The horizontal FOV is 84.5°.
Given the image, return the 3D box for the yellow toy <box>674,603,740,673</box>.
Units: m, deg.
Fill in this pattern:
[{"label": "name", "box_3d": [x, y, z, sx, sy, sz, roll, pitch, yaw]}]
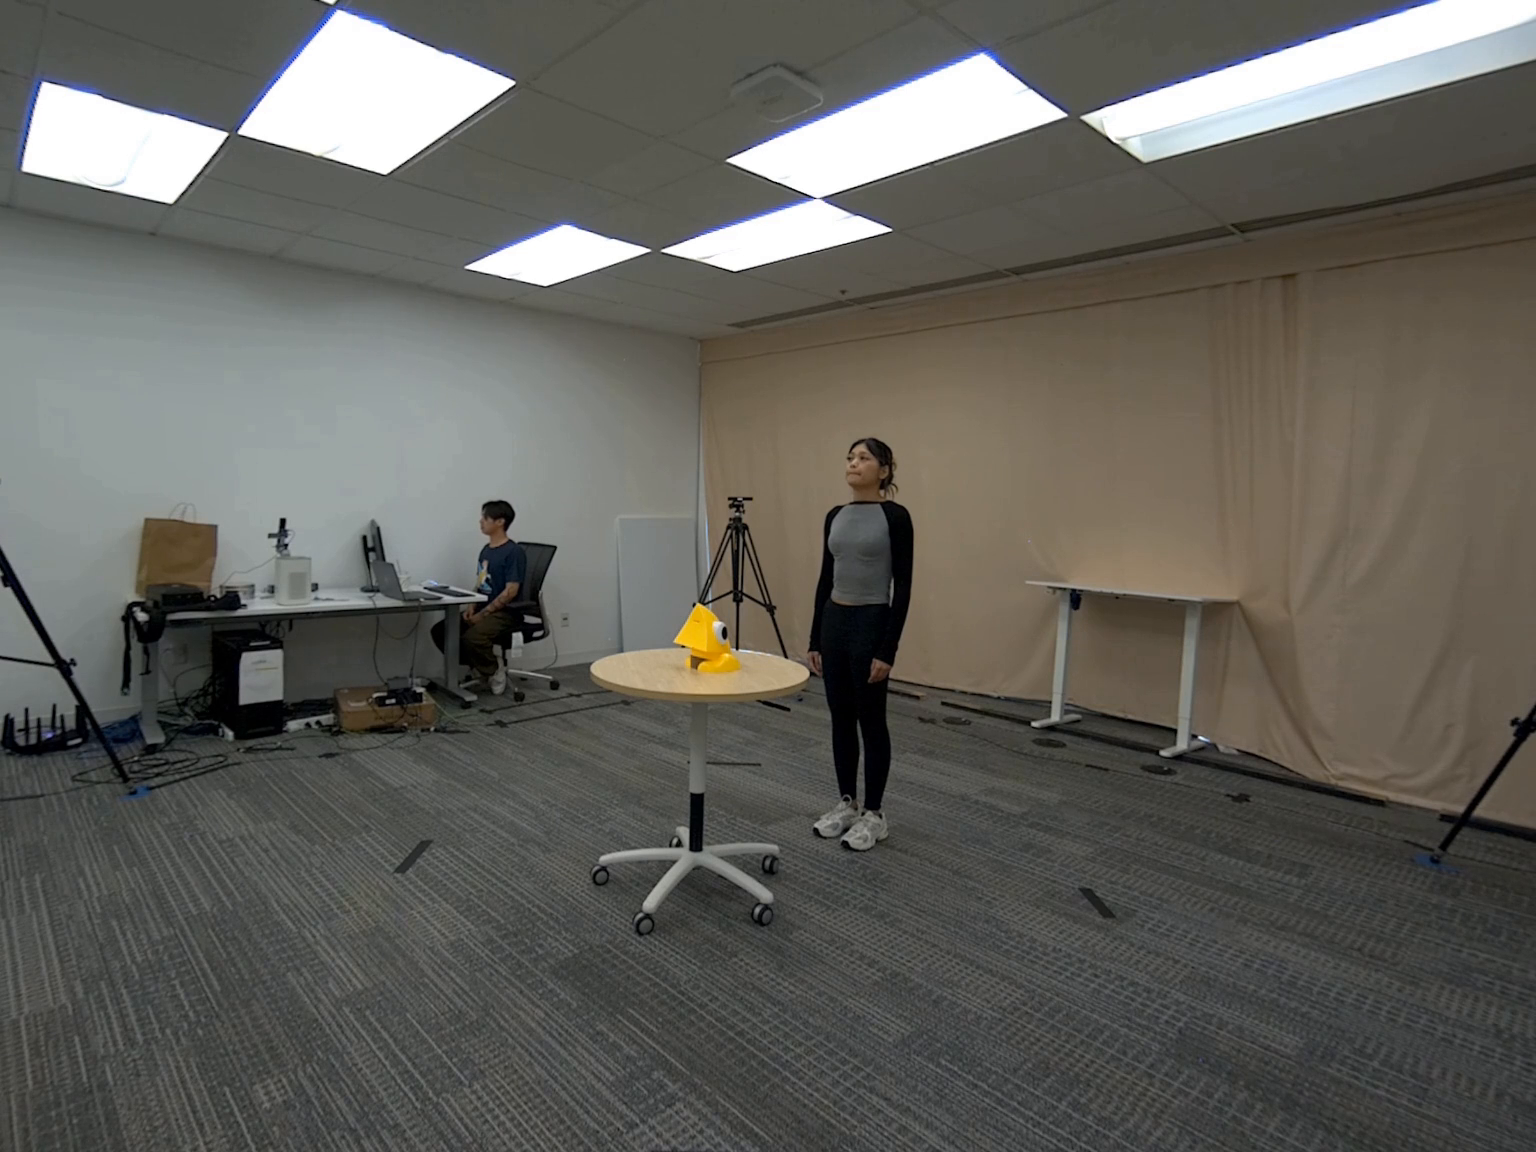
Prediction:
[{"label": "yellow toy", "box_3d": [-0.206, 0.211, 2.982, 0.188, 0.230, 0.210, 0, 5, -38]}]
